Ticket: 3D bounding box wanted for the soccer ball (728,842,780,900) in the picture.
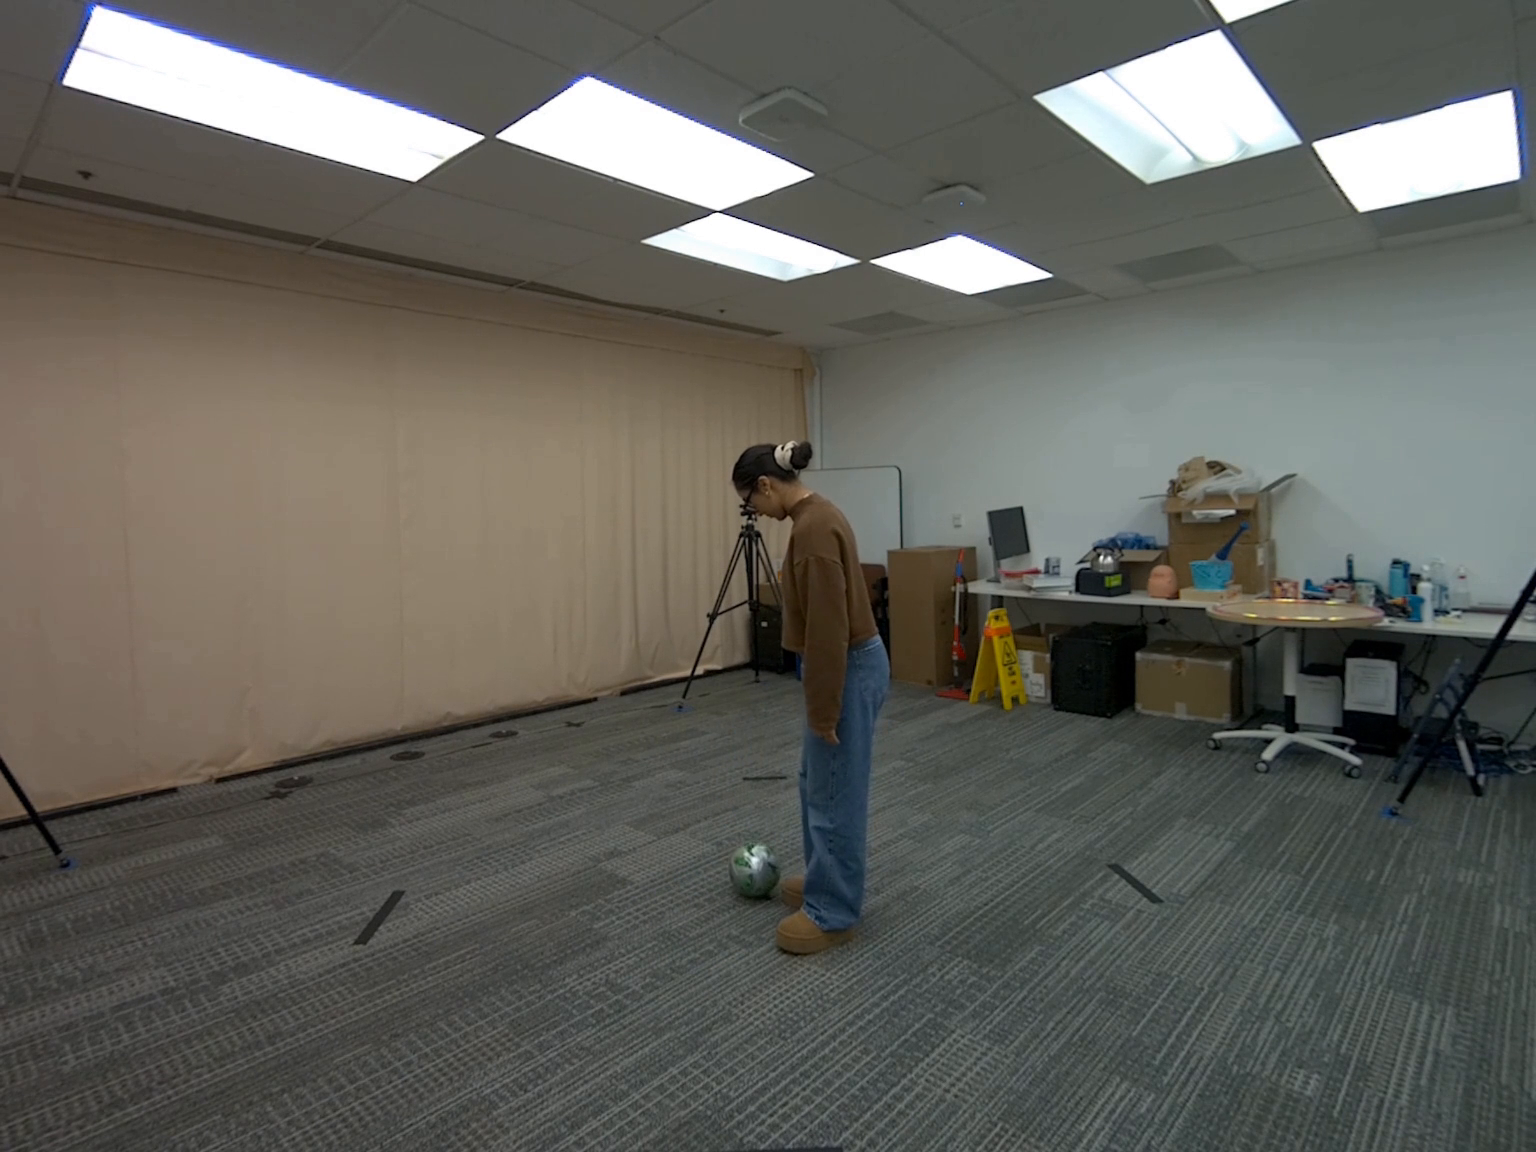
[{"bbox_3d":[-0.046,1.045,2.999,0.187,0.187,0.188,-1,4,-2],"label":"soccer ball"}]
